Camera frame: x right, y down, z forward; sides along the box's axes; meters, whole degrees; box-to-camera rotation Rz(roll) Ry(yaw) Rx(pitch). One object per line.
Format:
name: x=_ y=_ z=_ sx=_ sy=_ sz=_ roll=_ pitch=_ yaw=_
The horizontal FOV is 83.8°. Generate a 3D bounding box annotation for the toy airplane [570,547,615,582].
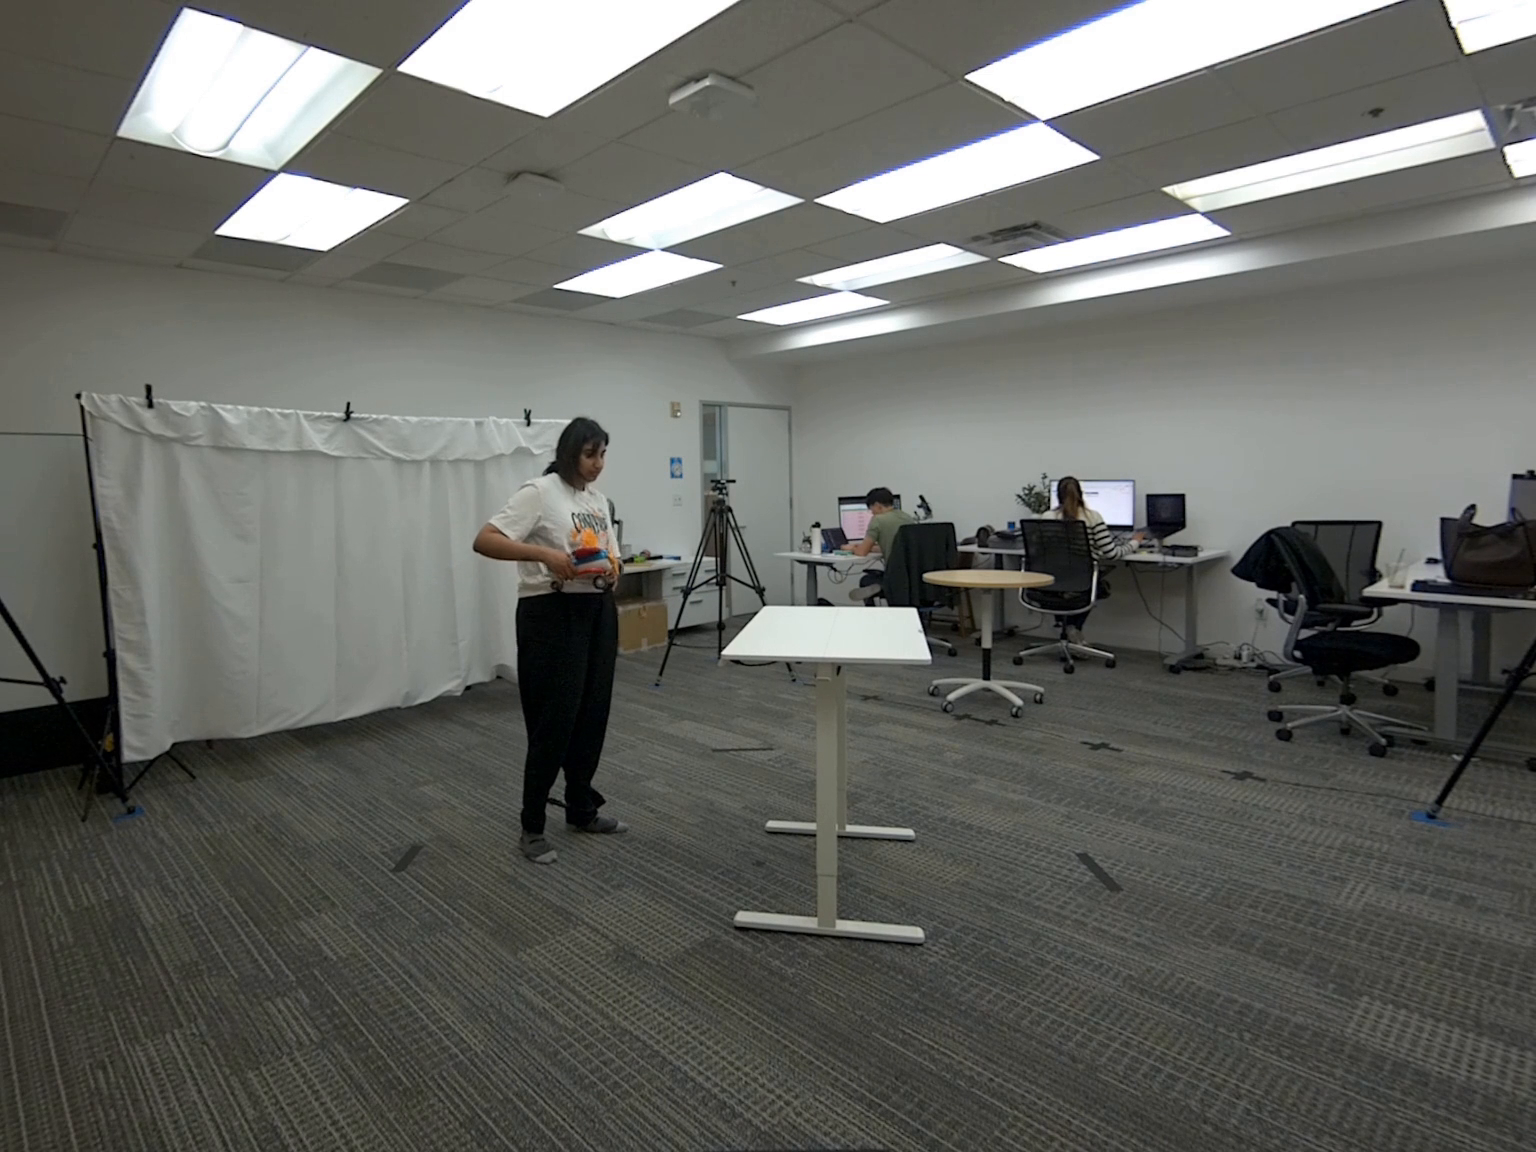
toy airplane: x=-0.685 y=-0.023 z=3.119 sx=0.253 sy=0.157 sz=0.256 roll=6 pitch=-4 yaw=-23
